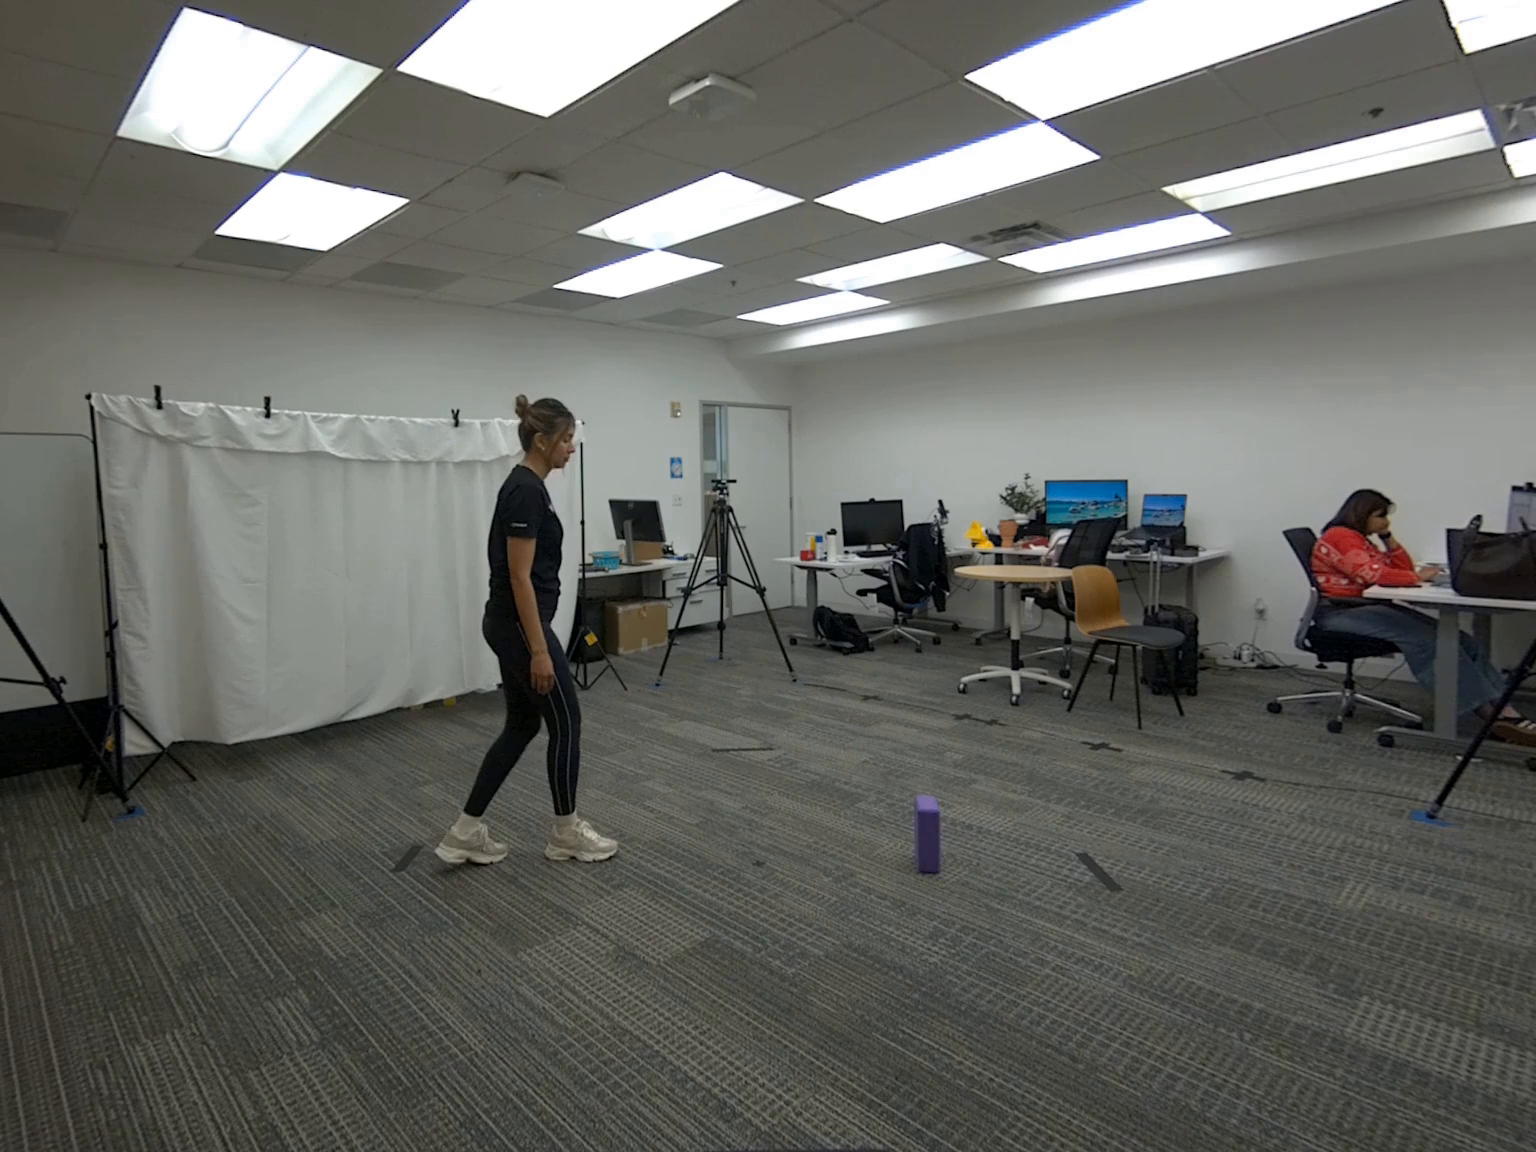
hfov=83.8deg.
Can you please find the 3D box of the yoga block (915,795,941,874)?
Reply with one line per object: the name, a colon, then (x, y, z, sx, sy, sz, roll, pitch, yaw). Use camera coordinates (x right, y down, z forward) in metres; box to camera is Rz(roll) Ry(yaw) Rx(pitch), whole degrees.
yoga block: (0.569, 0.921, 3.064, 0.077, 0.229, 0.148, 0, 3, 4)
